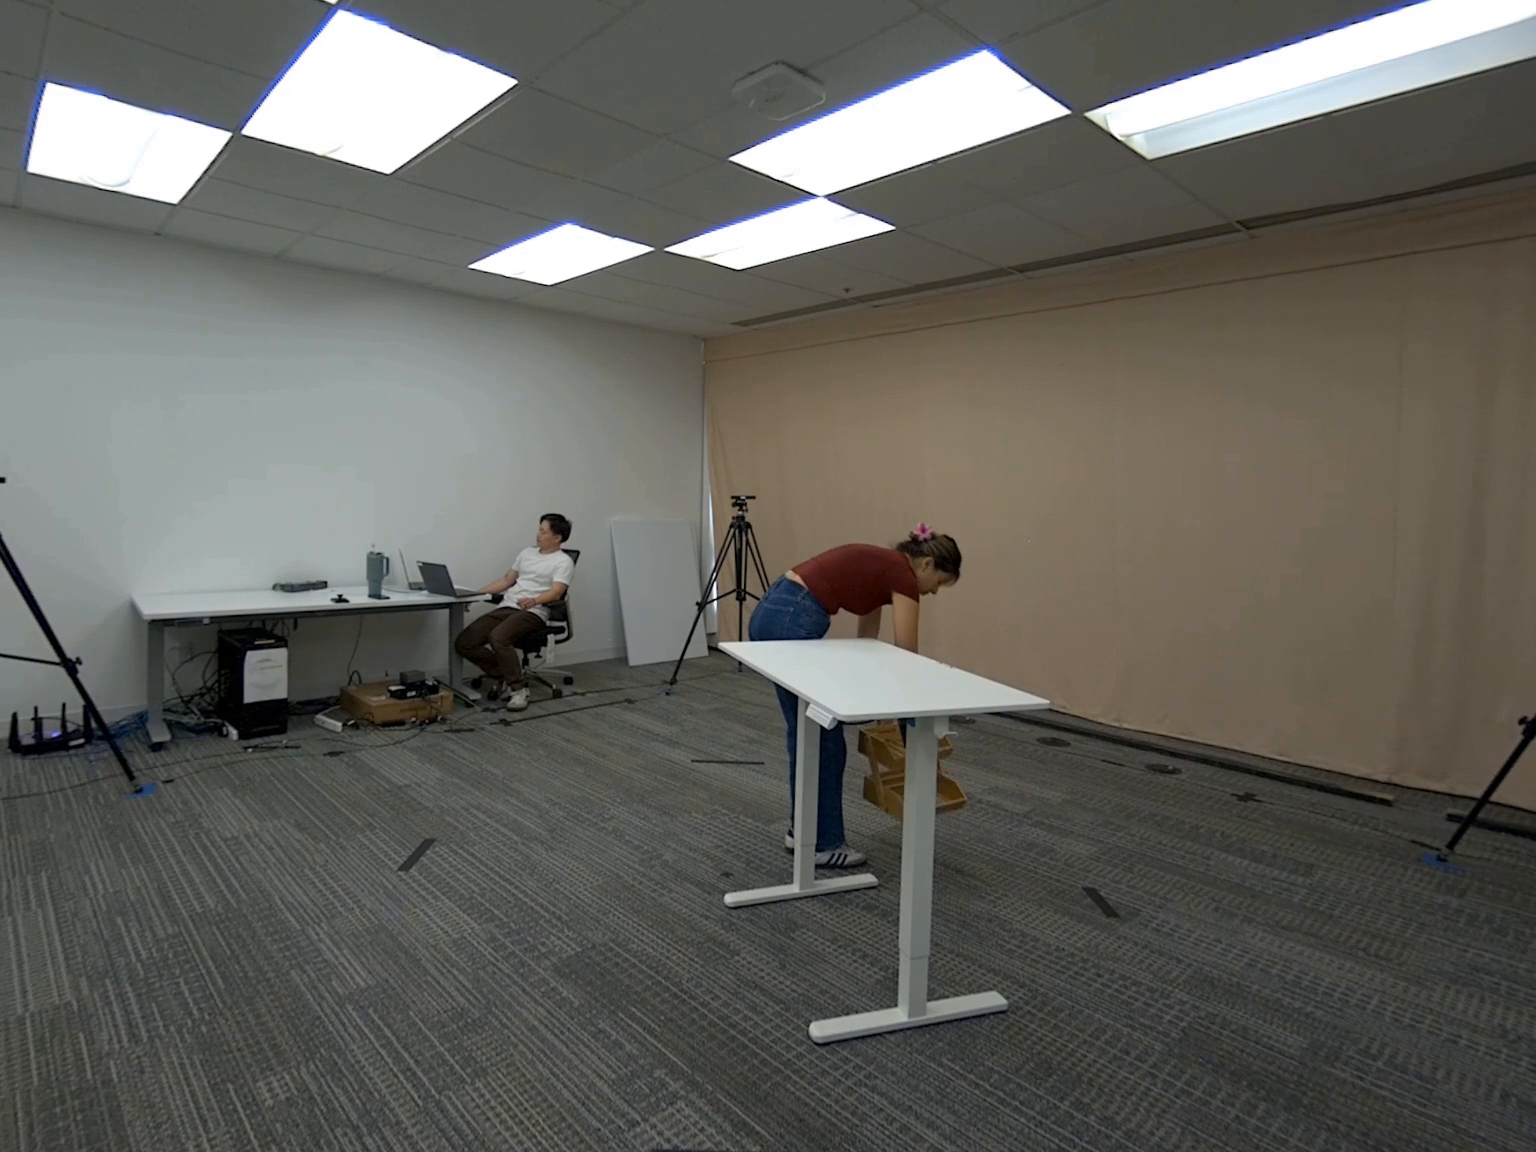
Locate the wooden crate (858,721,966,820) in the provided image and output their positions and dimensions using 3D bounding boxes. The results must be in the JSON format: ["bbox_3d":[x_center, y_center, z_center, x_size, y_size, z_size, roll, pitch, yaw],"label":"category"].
[{"bbox_3d":[0.540,0.738,3.209,0.318,0.272,0.310,-2,9,-32],"label":"wooden crate"}]
